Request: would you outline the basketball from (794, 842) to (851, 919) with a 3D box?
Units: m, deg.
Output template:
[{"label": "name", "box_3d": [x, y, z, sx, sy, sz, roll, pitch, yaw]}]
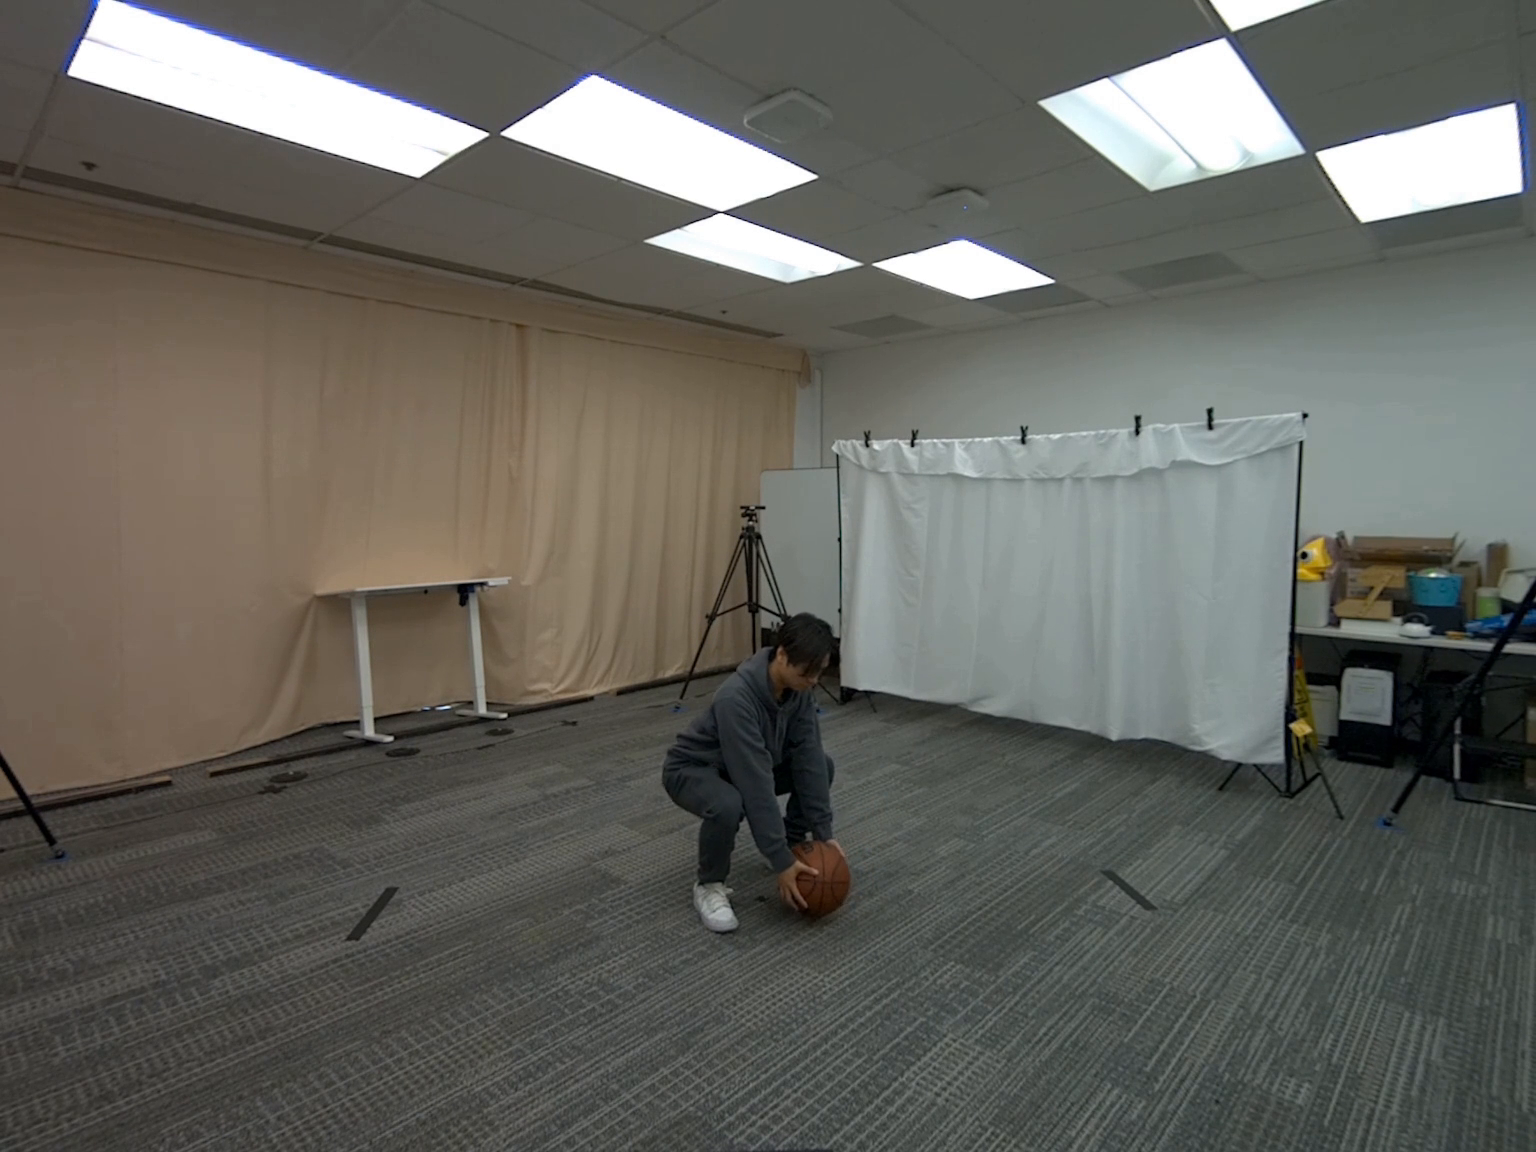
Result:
[{"label": "basketball", "box_3d": [0.157, 1.007, 2.832, 0.236, 0.235, 0.237, 0, 4, -2]}]
